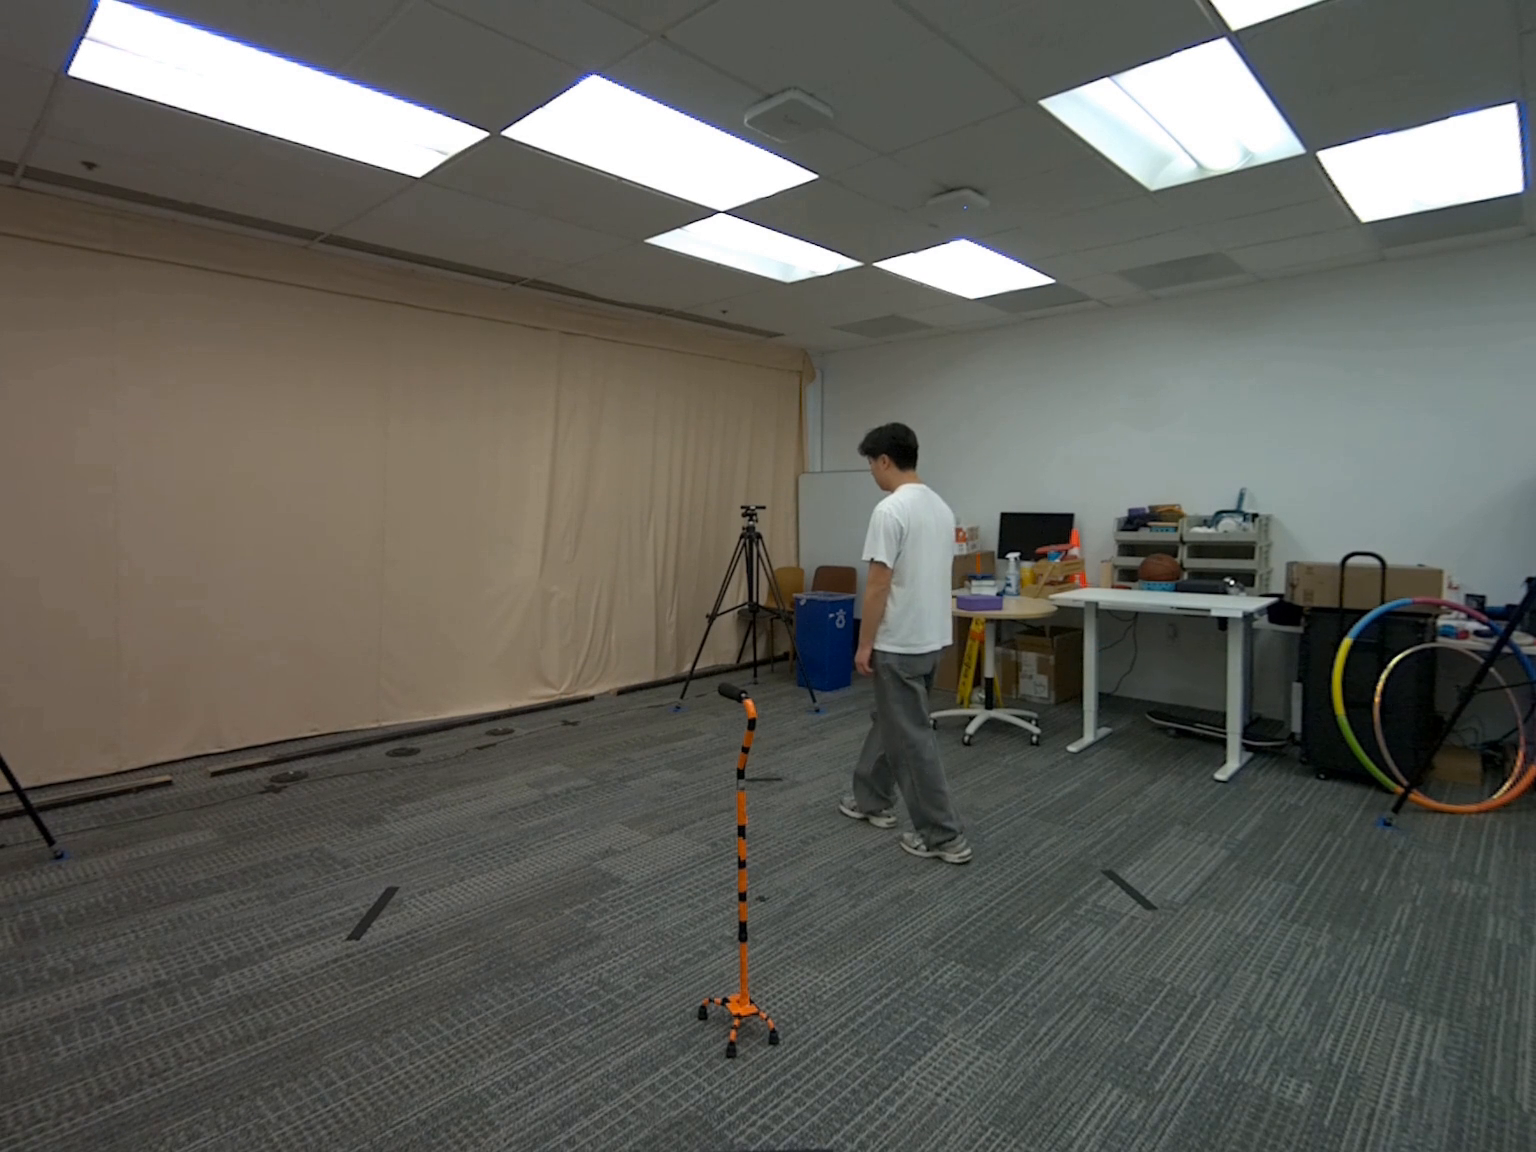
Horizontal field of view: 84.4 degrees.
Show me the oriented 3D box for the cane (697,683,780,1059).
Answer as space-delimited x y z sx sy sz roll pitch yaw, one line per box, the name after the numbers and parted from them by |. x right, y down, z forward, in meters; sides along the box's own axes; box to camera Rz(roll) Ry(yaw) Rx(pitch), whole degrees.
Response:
-0.077 0.758 2.215 0.148 0.906 0.212 -2 3 -28 | cane
